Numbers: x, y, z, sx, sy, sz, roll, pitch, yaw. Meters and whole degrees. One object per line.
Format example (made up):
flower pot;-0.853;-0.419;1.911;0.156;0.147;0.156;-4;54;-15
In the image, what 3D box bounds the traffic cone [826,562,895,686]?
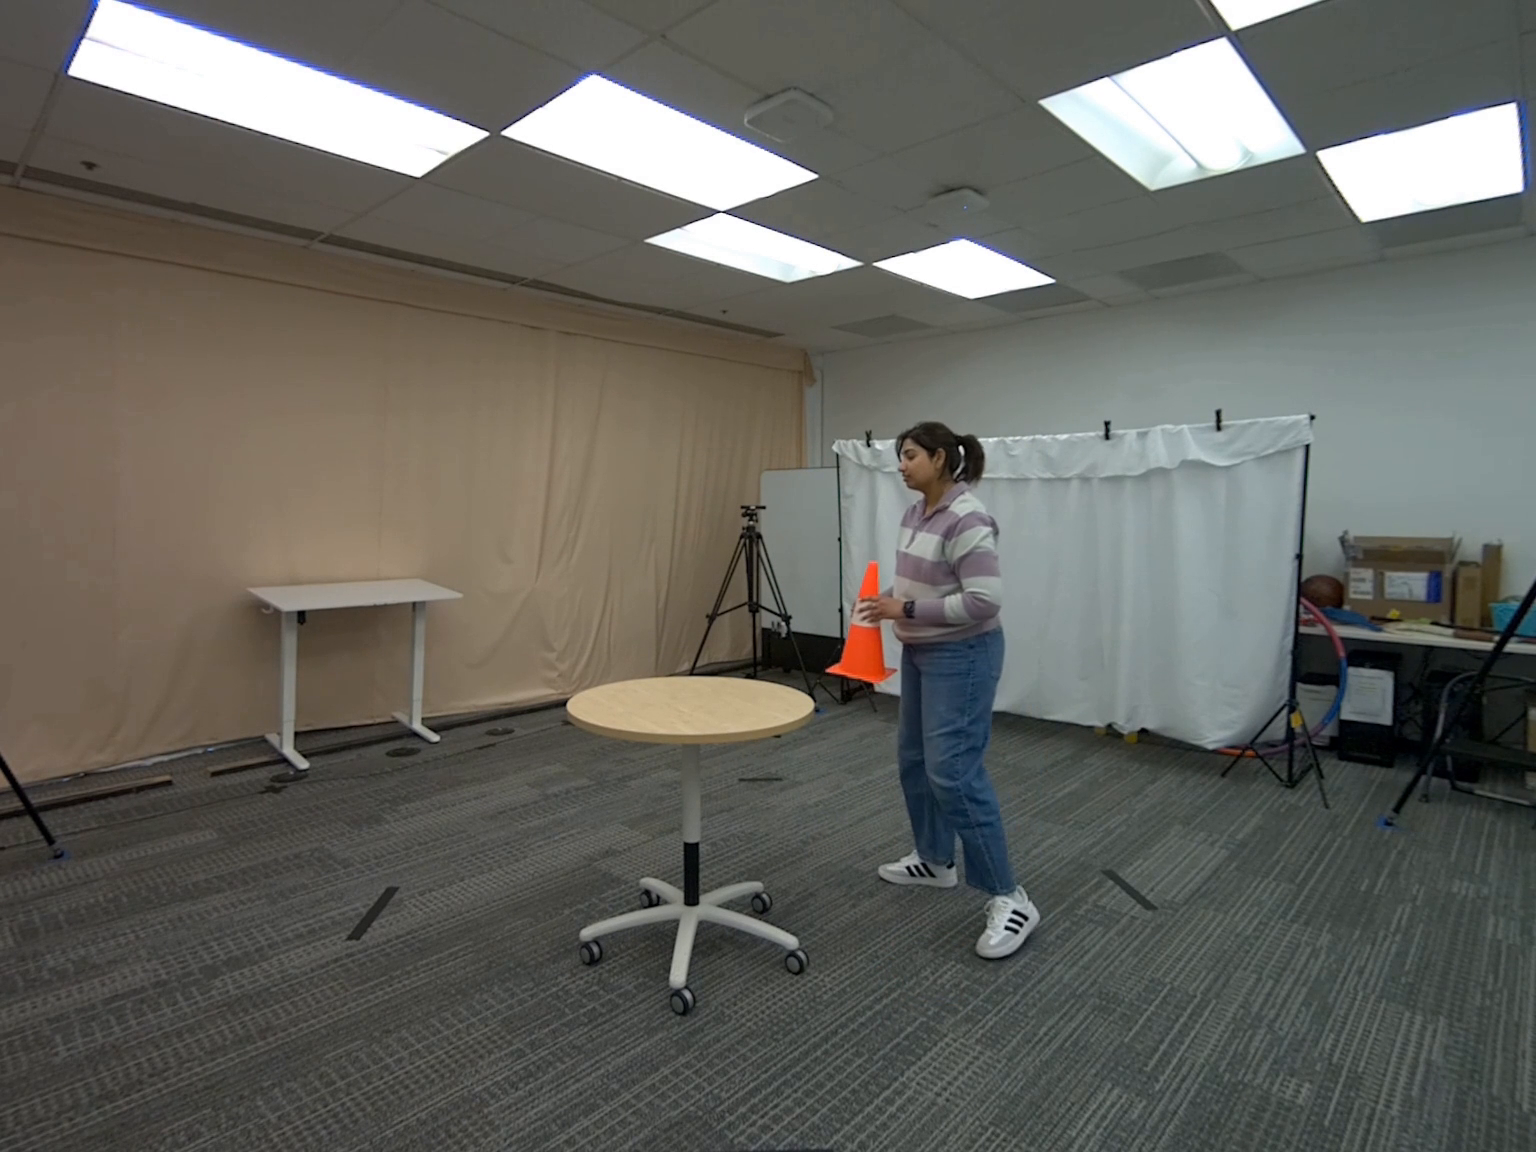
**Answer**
traffic cone;0.353;0.147;2.894;0.211;0.382;0.198;7;7;26
